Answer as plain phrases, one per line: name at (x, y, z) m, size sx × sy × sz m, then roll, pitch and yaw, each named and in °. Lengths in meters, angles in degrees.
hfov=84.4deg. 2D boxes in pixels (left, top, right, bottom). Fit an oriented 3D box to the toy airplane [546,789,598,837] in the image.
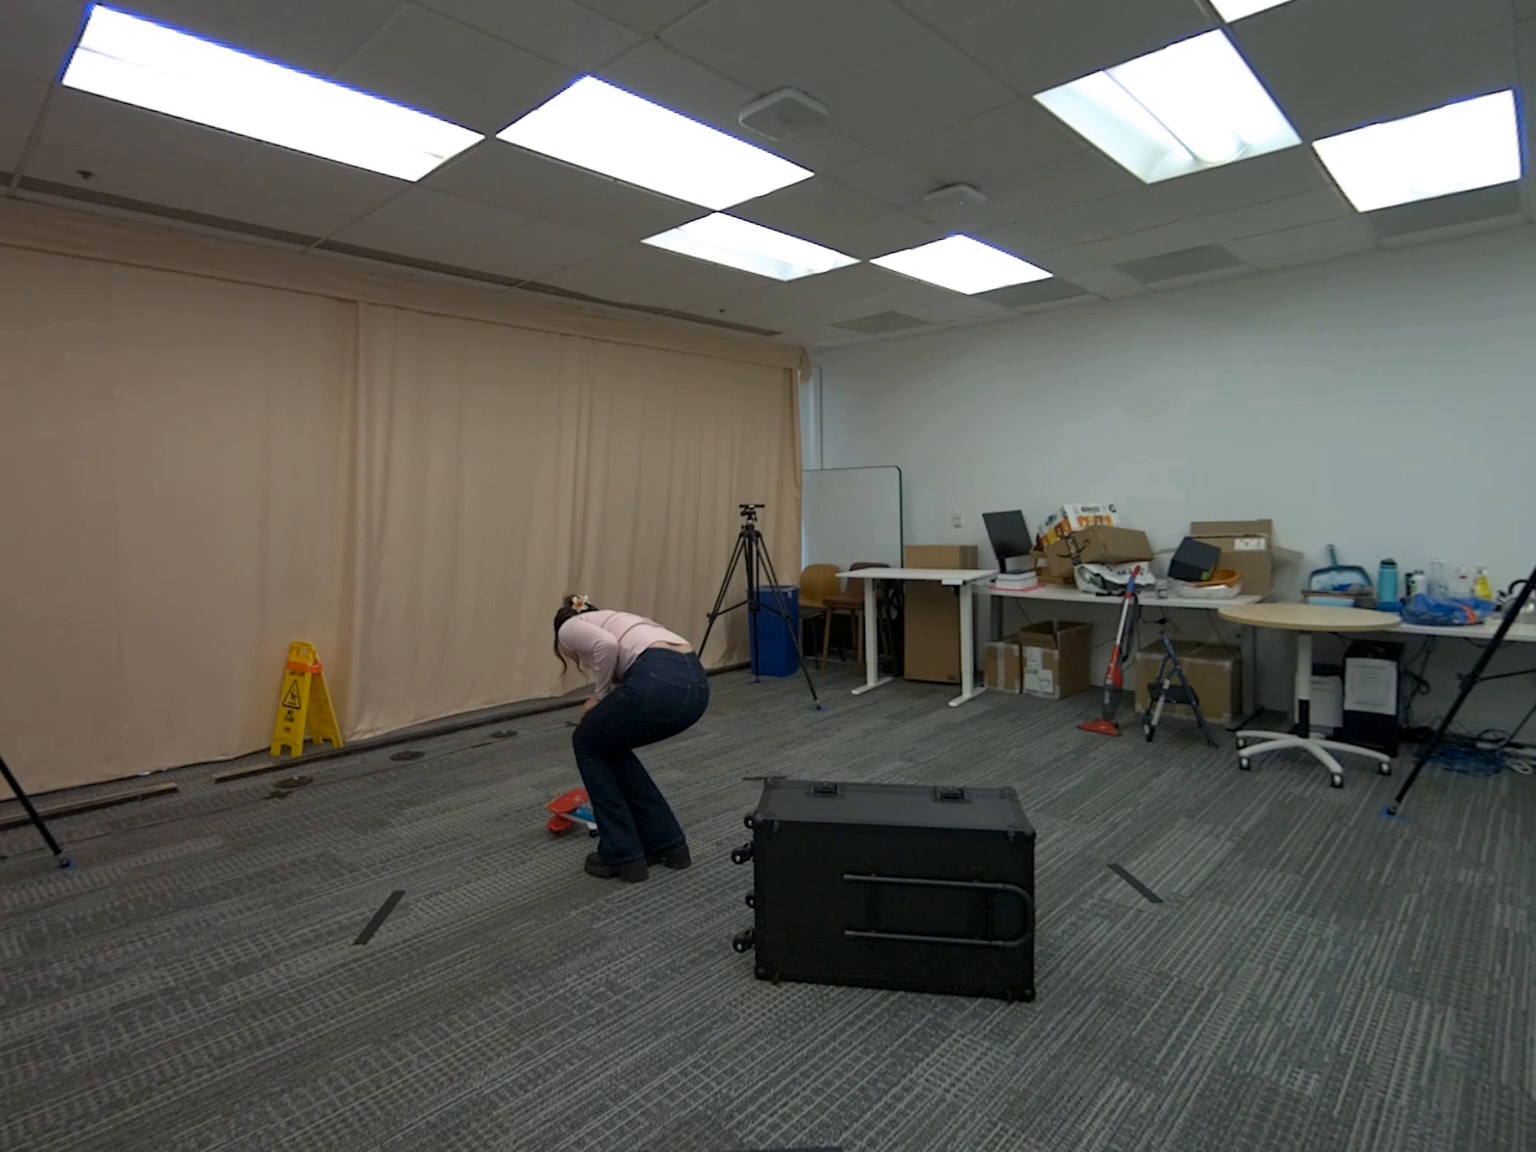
toy airplane at (-0.822, 1.034, 3.648) m, size 0.257 × 0.156 × 0.253 m, roll -2°, pitch 4°, yaw -7°
